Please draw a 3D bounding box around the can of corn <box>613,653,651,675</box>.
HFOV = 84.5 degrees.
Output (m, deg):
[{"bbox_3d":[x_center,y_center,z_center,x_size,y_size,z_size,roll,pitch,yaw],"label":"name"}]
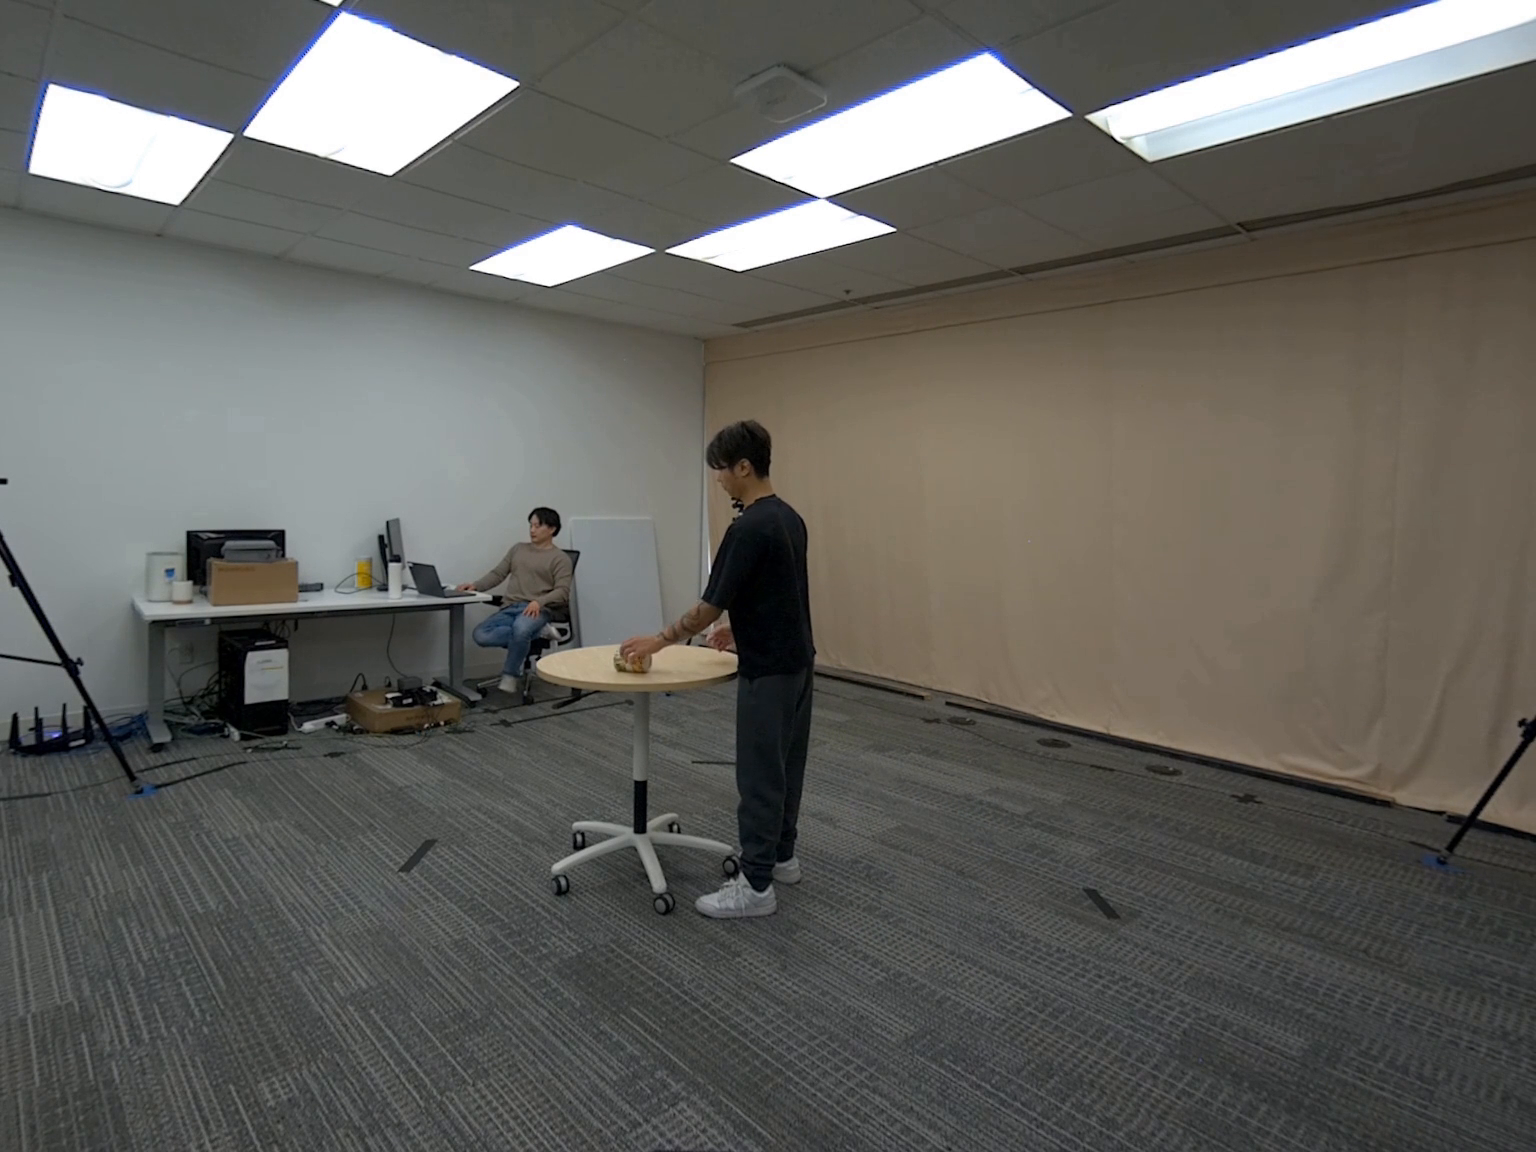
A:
[{"bbox_3d":[-0.471,0.293,2.932,0.112,0.074,0.073,1,4,15],"label":"can of corn"}]
